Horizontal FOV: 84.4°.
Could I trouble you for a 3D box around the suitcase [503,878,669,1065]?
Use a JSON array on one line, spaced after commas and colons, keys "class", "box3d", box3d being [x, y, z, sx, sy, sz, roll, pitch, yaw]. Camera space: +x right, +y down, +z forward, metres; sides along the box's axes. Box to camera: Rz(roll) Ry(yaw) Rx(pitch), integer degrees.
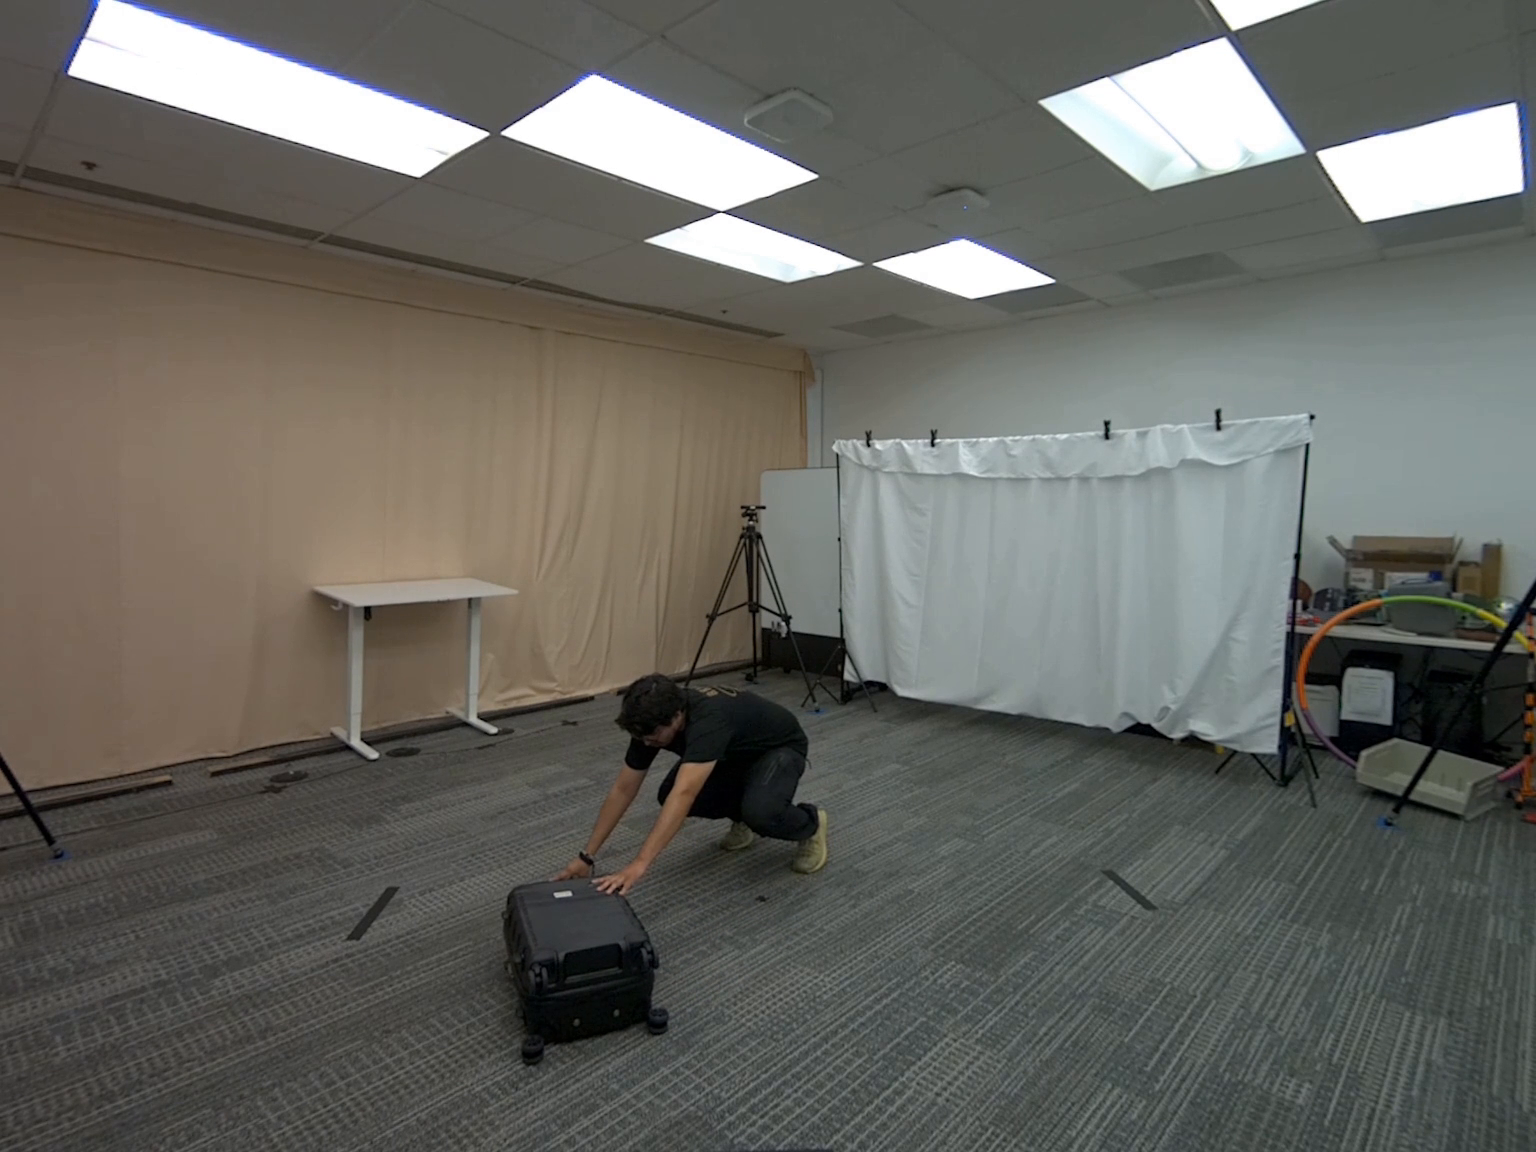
[{"class": "suitcase", "box3d": [-0.633, 1.054, 2.596, 0.375, 0.256, 1.004, -3, 7, -24]}]
